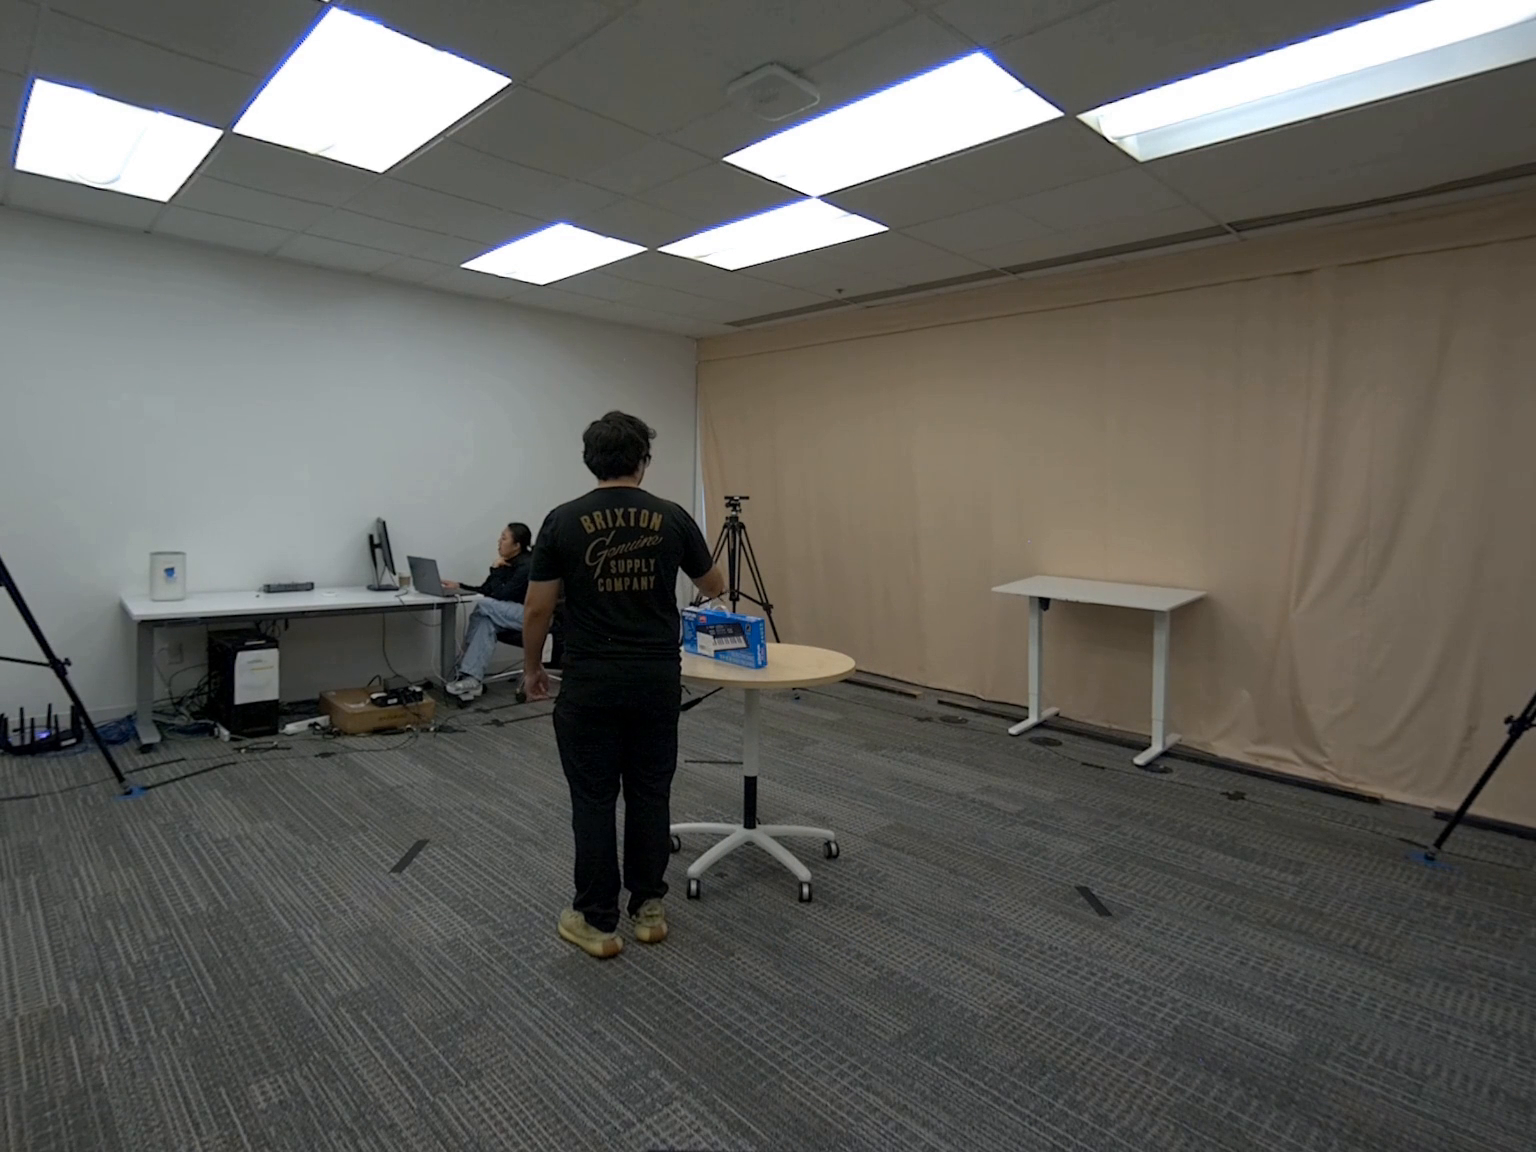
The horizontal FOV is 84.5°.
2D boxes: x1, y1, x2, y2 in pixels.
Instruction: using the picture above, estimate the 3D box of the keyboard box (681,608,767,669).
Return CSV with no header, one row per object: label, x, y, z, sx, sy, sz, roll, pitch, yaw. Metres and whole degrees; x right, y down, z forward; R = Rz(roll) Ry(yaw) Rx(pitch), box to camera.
keyboard box,-0.178,0.229,3.165,0.058,0.175,0.448,-8,9,-40
